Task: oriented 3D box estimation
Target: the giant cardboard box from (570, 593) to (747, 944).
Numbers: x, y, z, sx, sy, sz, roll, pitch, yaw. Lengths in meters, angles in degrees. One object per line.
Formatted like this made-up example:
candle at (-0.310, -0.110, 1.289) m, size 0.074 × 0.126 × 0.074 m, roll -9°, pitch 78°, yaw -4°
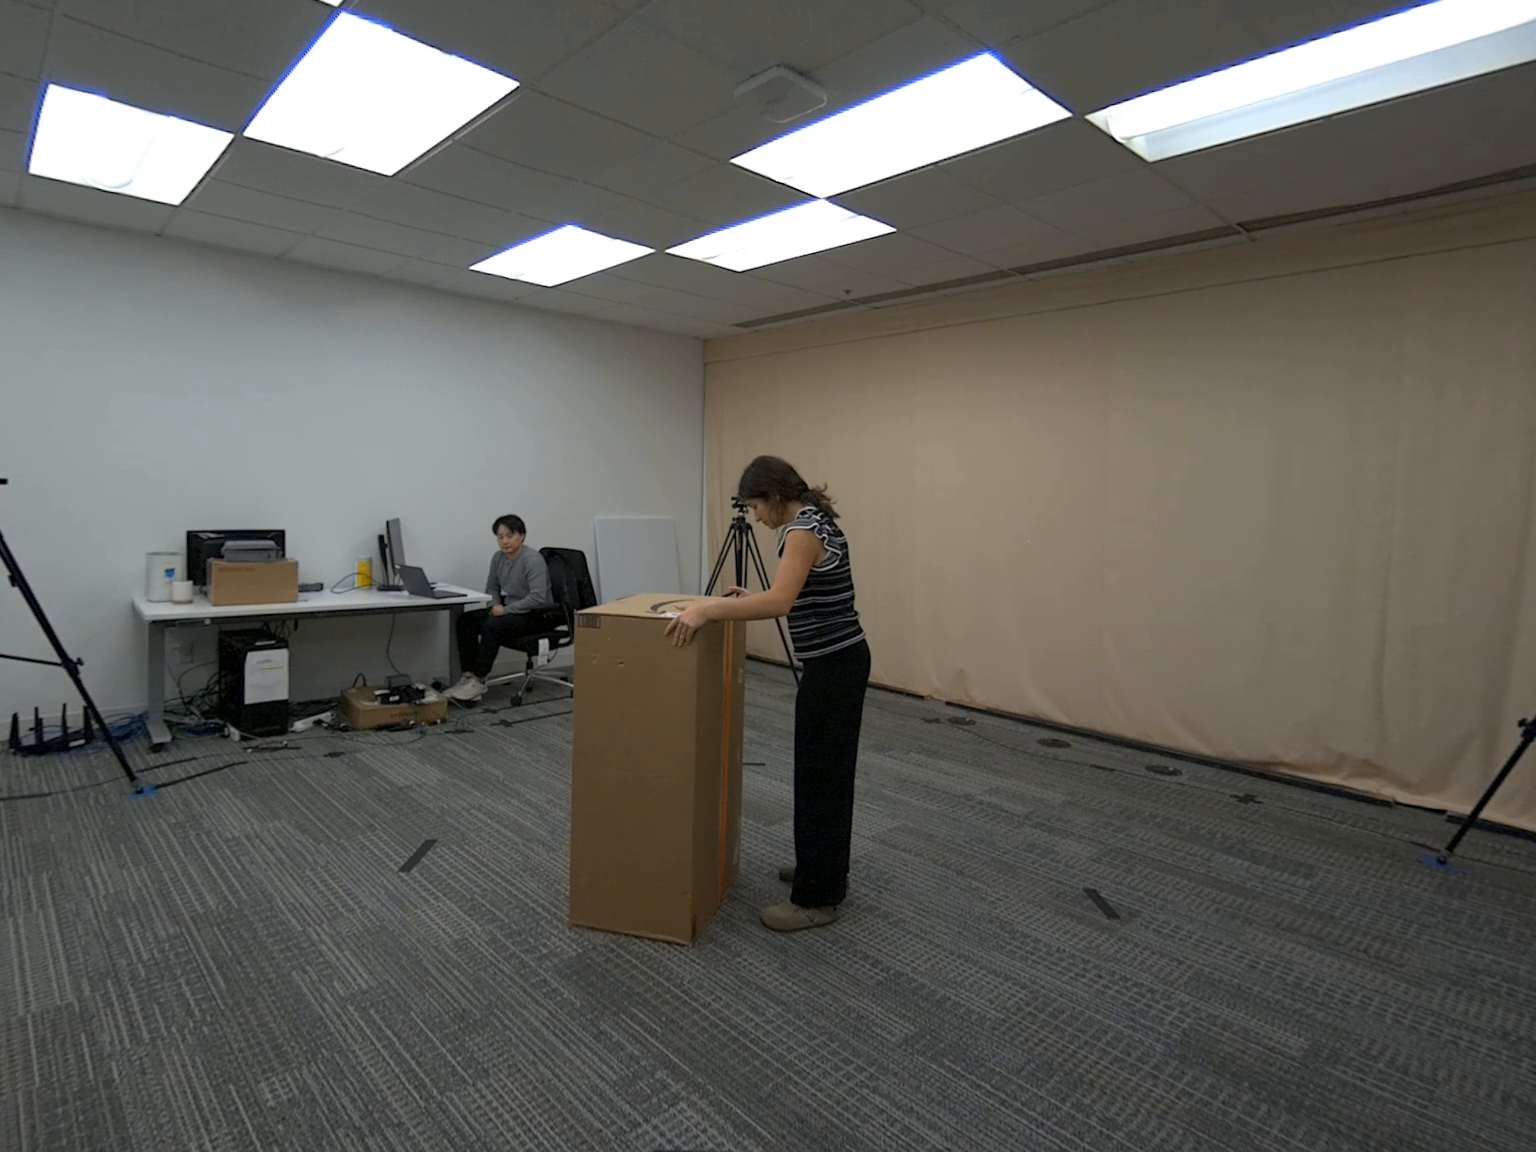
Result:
giant cardboard box at (-0.367, 0.617, 2.904) m, size 0.431 × 1.024 × 0.572 m, roll 2°, pitch 3°, yaw 14°
